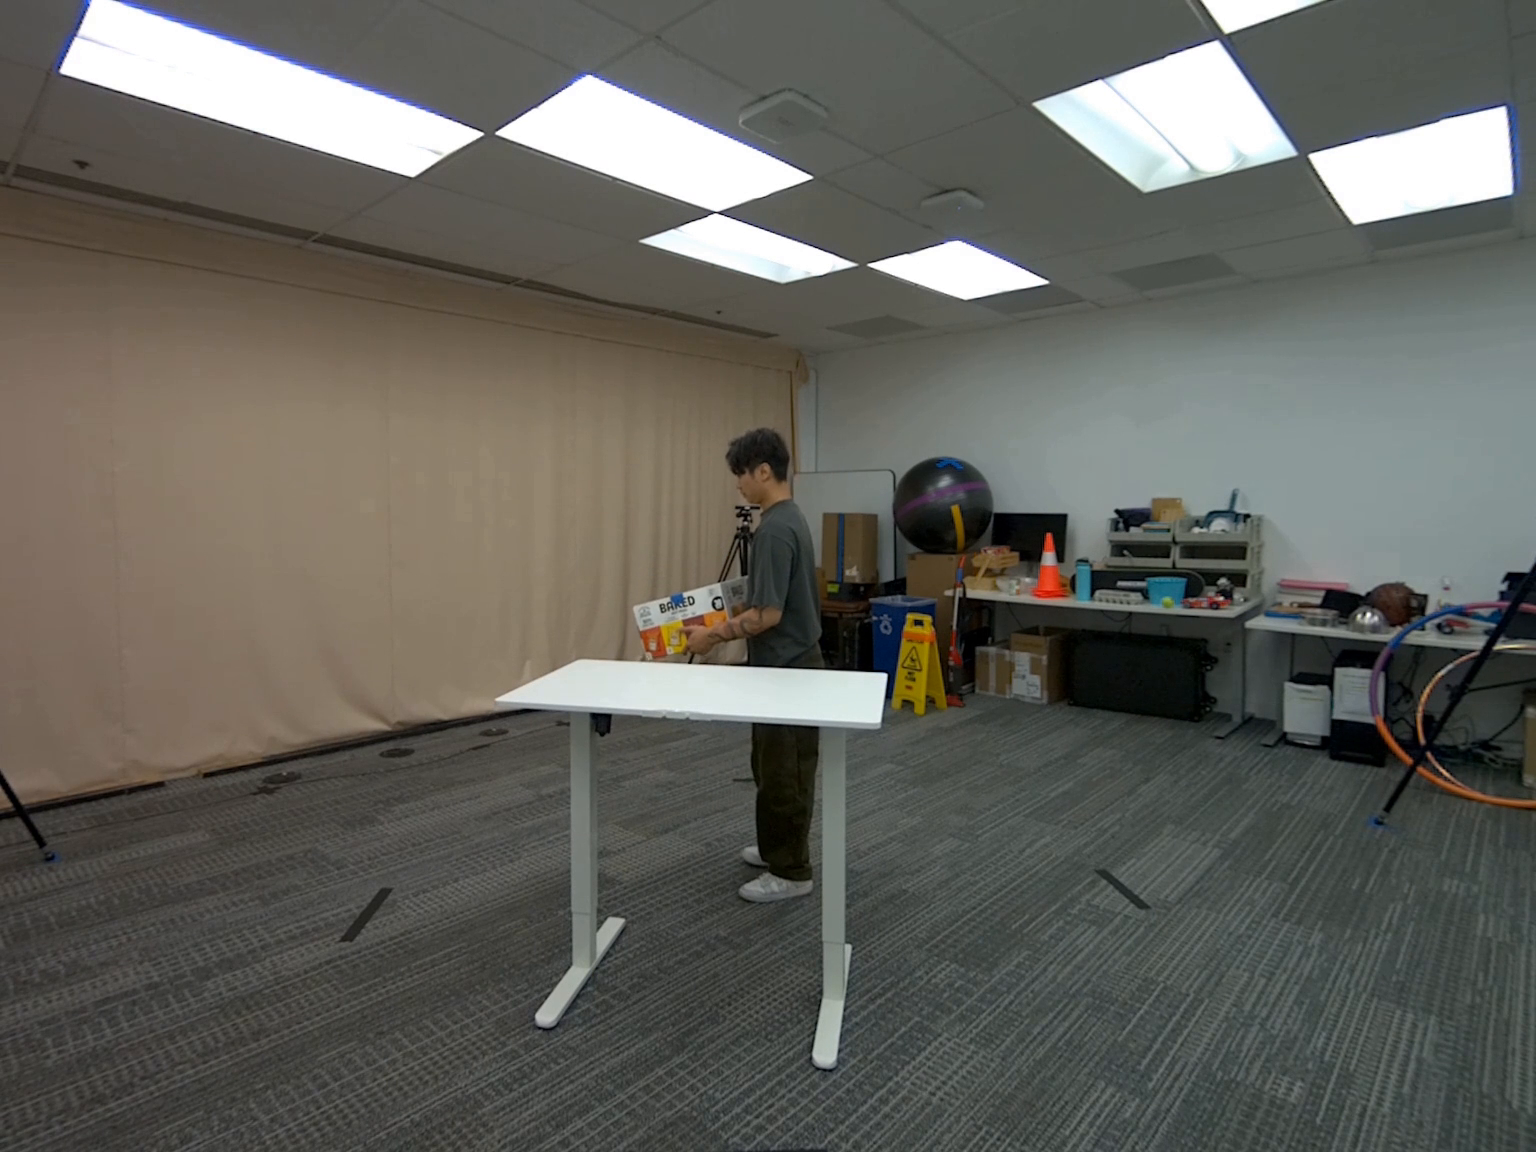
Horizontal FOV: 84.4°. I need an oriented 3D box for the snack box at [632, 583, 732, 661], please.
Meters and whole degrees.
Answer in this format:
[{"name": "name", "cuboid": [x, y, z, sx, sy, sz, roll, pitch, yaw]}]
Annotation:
[{"name": "snack box", "cuboid": [-0.253, 0.152, 3.164, 0.345, 0.206, 0.399, -14, -1, 16]}]
